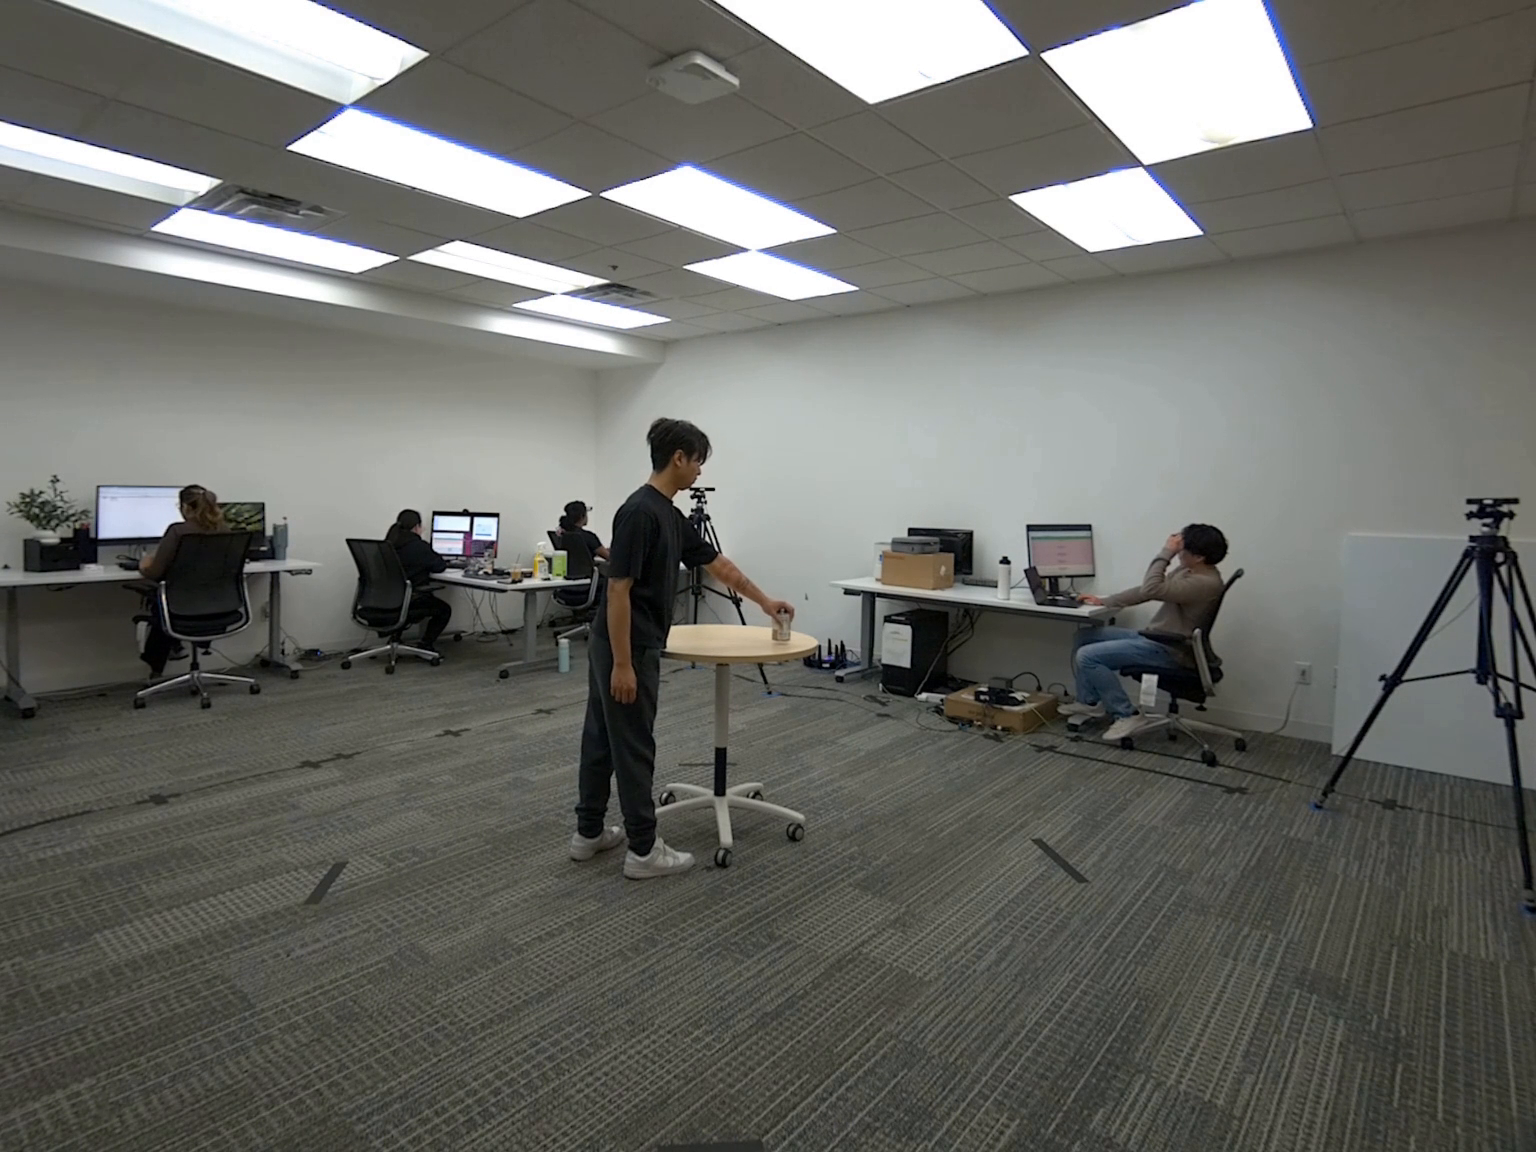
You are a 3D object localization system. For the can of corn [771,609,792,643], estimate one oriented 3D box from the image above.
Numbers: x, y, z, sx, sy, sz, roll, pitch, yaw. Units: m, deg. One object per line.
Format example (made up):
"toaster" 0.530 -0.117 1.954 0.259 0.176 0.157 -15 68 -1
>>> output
"can of corn" 0.038 0.198 3.347 0.074 0.110 0.075 -2 7 -2
